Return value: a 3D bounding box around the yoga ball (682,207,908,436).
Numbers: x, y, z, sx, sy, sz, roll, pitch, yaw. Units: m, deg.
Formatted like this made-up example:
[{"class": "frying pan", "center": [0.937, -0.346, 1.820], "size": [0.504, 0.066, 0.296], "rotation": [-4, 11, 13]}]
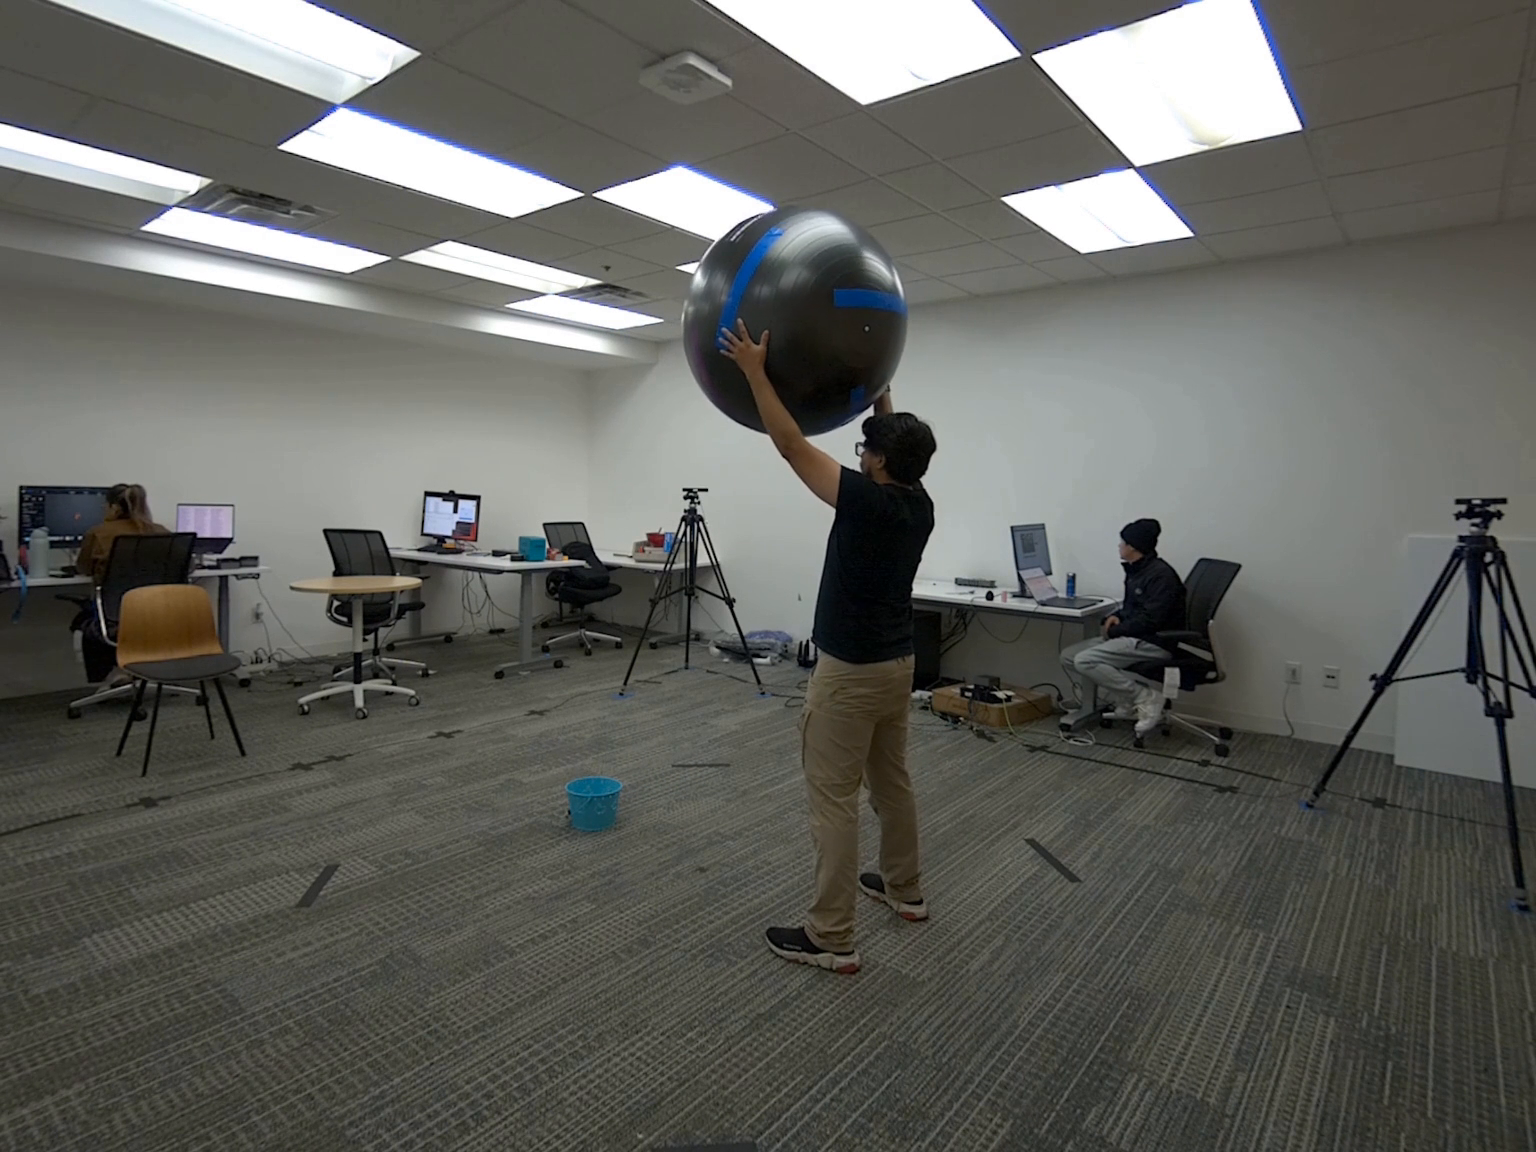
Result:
[{"class": "yoga ball", "center": [0.078, -0.842, 2.882], "size": [0.757, 0.756, 0.761], "rotation": [1, 4, -2]}]
